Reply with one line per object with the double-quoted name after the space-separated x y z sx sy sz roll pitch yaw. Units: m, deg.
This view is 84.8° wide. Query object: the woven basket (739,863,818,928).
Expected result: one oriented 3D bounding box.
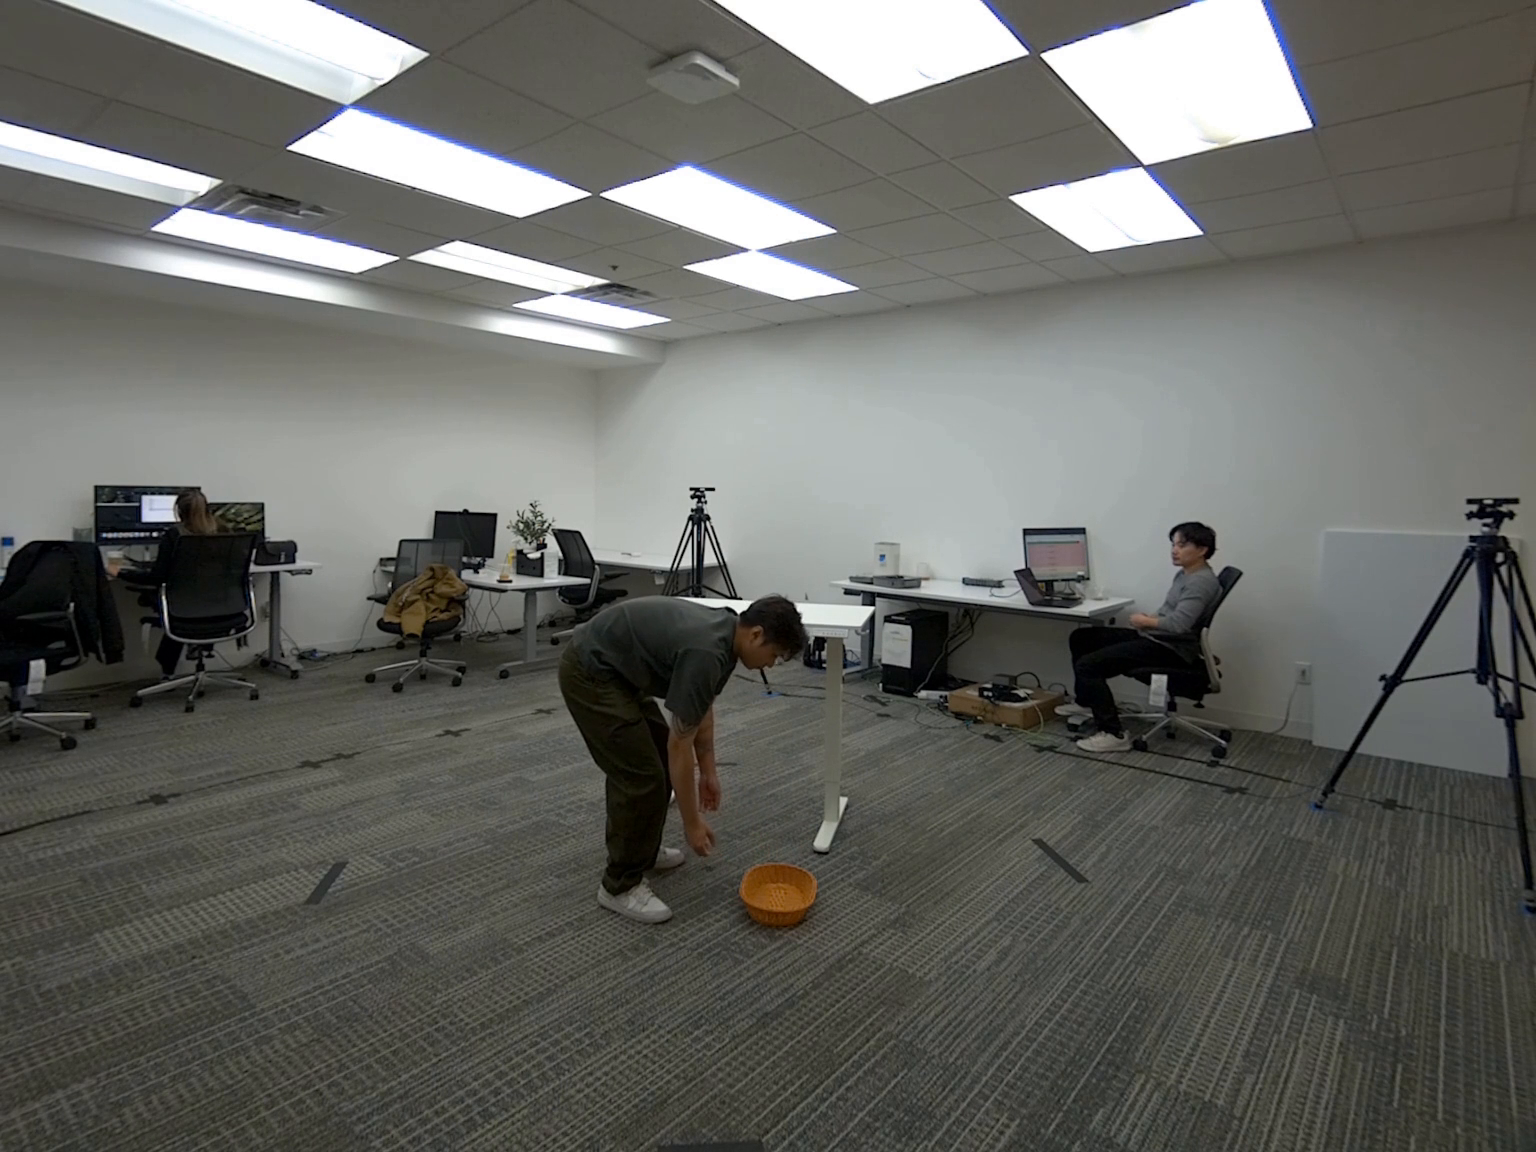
0.026 1.060 2.837 0.255 0.073 0.347 3 6 10 "woven basket"
